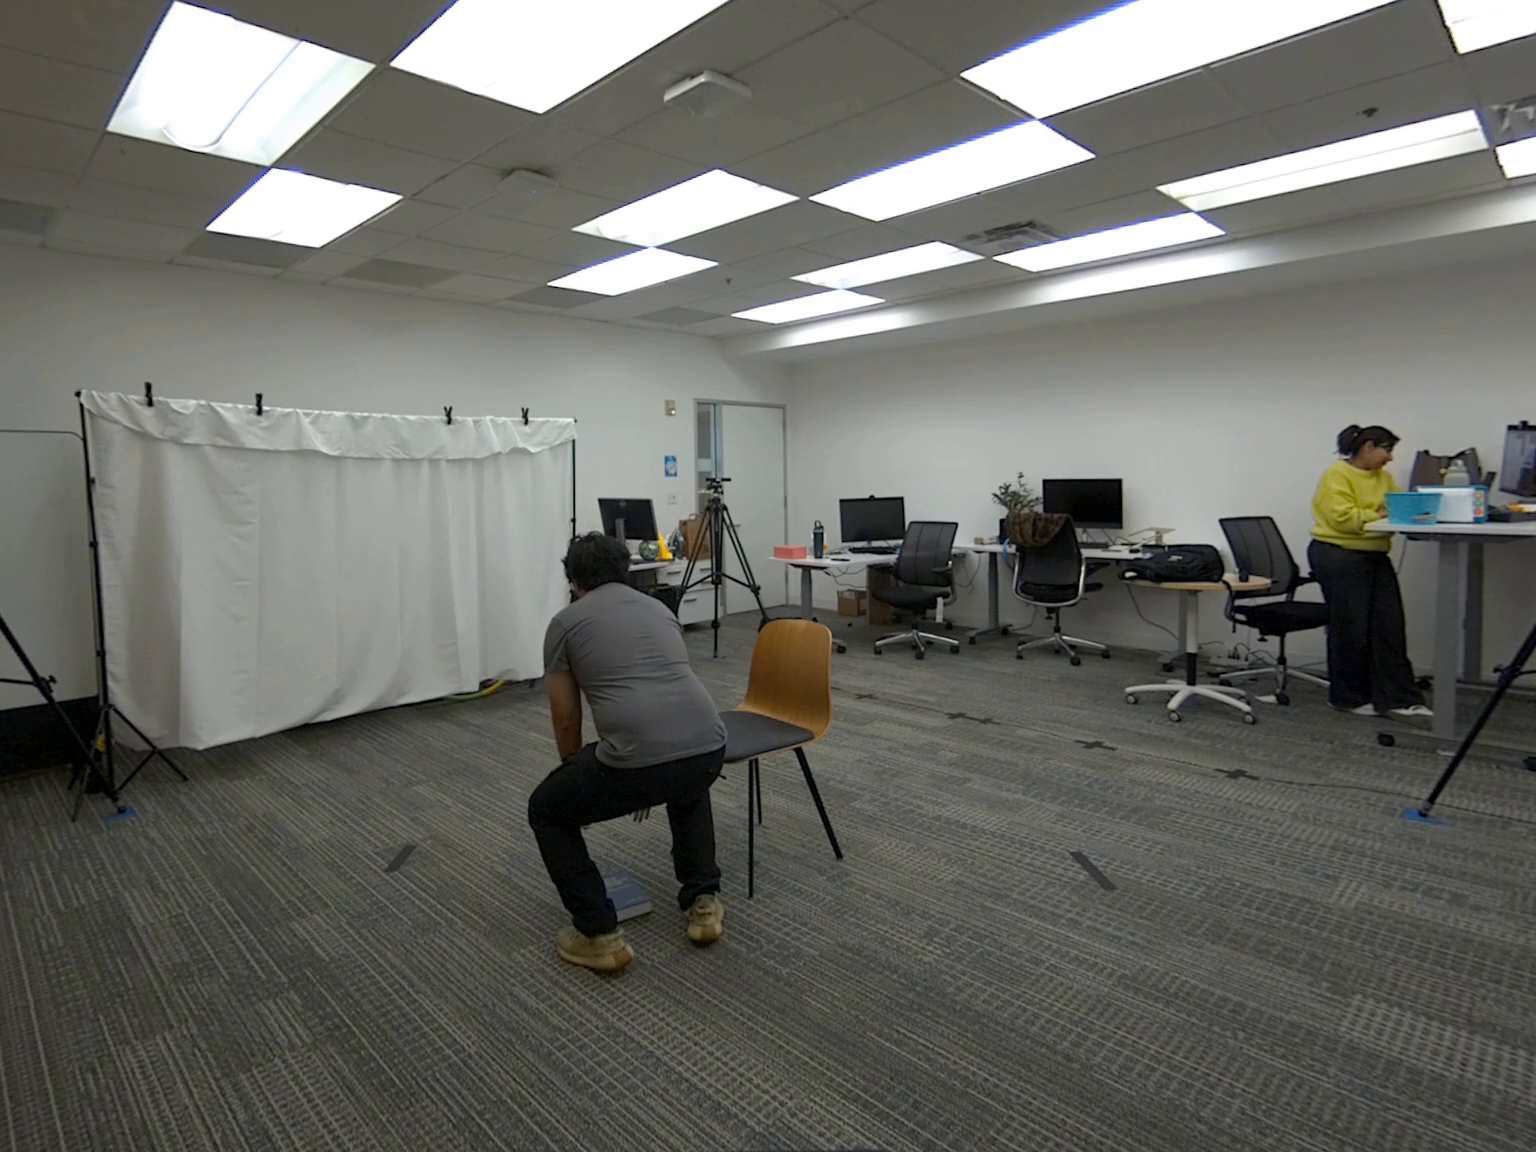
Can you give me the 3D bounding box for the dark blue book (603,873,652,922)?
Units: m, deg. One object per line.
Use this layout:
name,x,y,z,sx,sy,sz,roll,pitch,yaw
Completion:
dark blue book,-0.499,1.058,2.819,0.159,0.045,0.252,-5,8,-32
